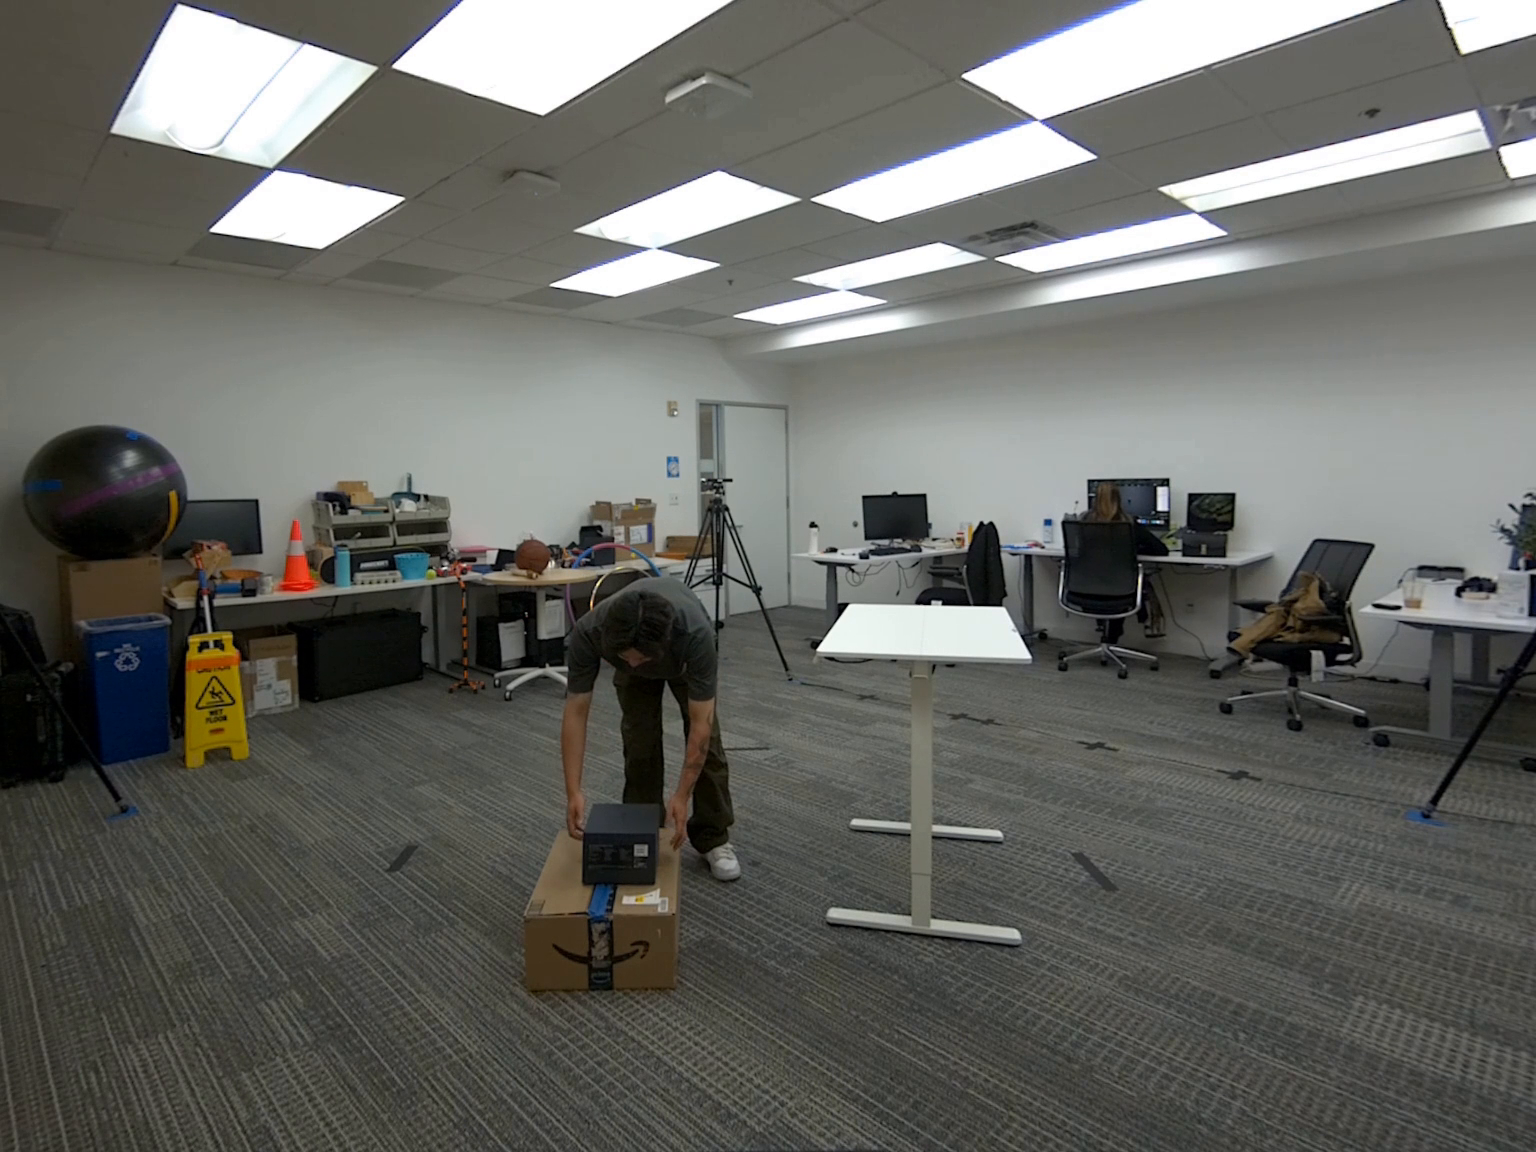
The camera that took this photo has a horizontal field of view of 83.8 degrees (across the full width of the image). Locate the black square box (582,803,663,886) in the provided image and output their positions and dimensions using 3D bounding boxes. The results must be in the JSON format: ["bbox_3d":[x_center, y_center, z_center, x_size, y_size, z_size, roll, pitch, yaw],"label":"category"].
[{"bbox_3d":[-0.441,0.822,2.589,0.216,0.155,0.230,0,7,-3],"label":"black square box"}]
